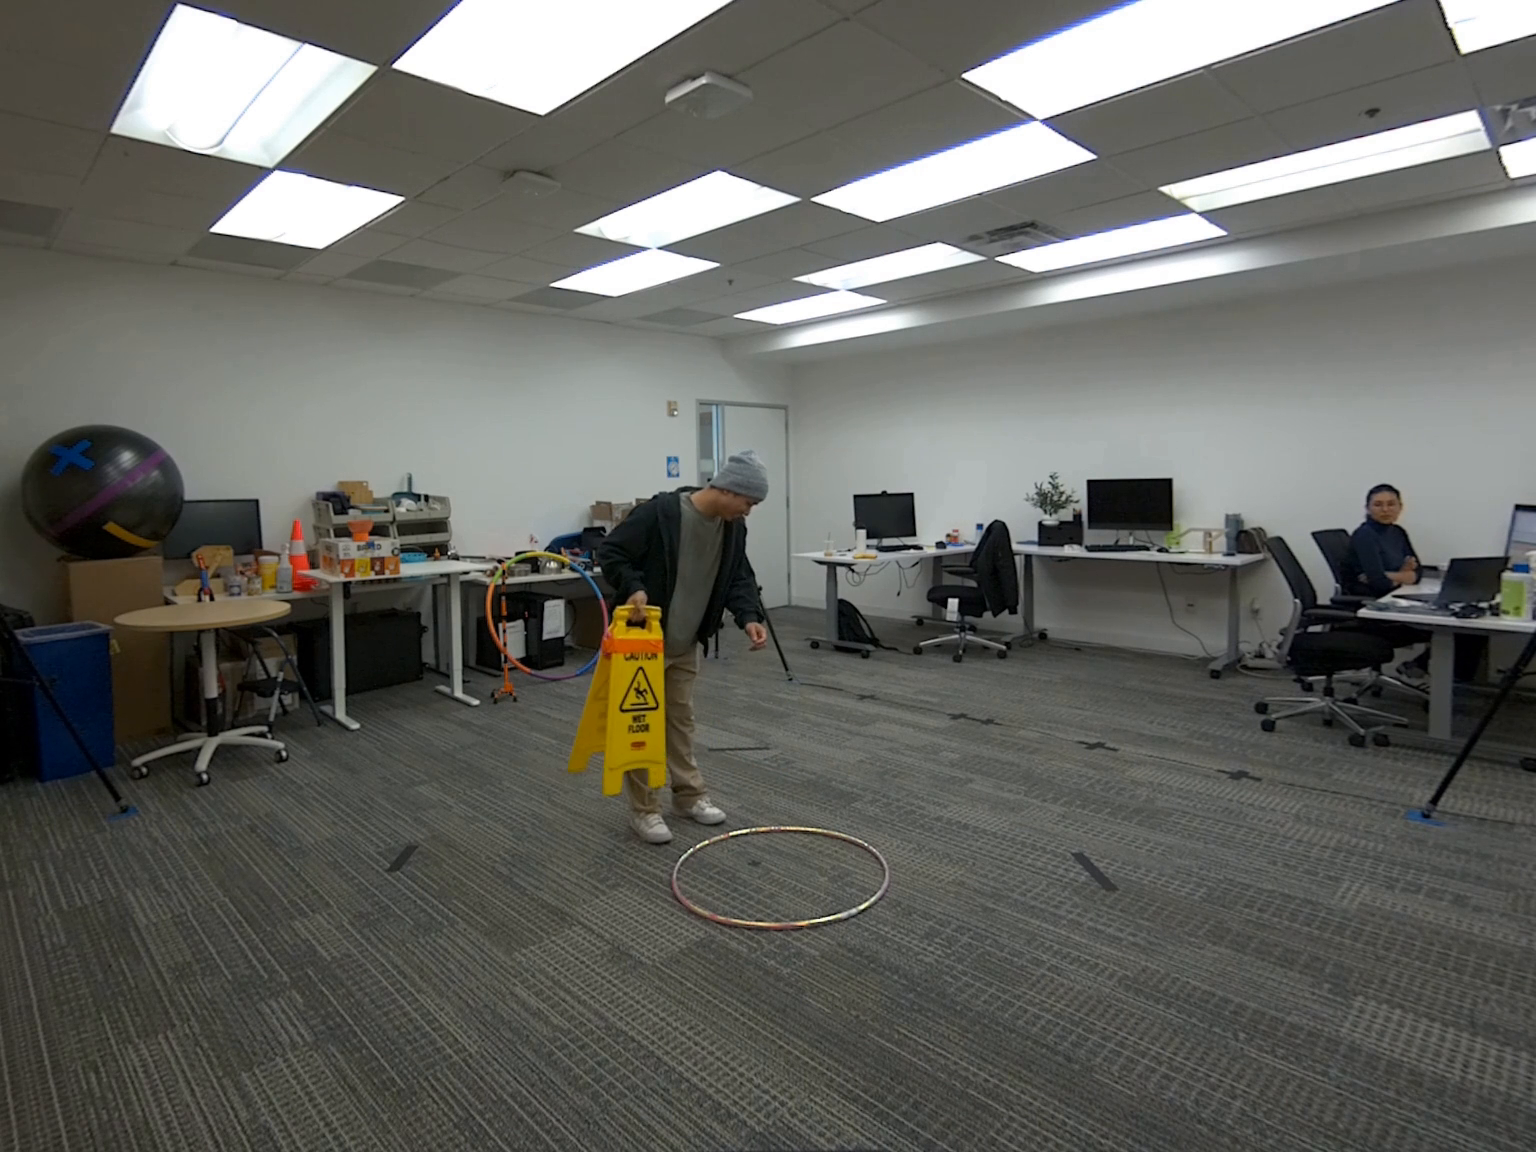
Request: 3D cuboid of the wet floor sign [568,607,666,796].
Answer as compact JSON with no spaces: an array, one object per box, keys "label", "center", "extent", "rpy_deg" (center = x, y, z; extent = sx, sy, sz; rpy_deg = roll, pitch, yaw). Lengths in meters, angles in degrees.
[{"label":"wet floor sign","center":[-0.514,0.440,3.149],"extent":[0.273,0.644,0.299],"rpy_deg":[4,5,-44]}]
